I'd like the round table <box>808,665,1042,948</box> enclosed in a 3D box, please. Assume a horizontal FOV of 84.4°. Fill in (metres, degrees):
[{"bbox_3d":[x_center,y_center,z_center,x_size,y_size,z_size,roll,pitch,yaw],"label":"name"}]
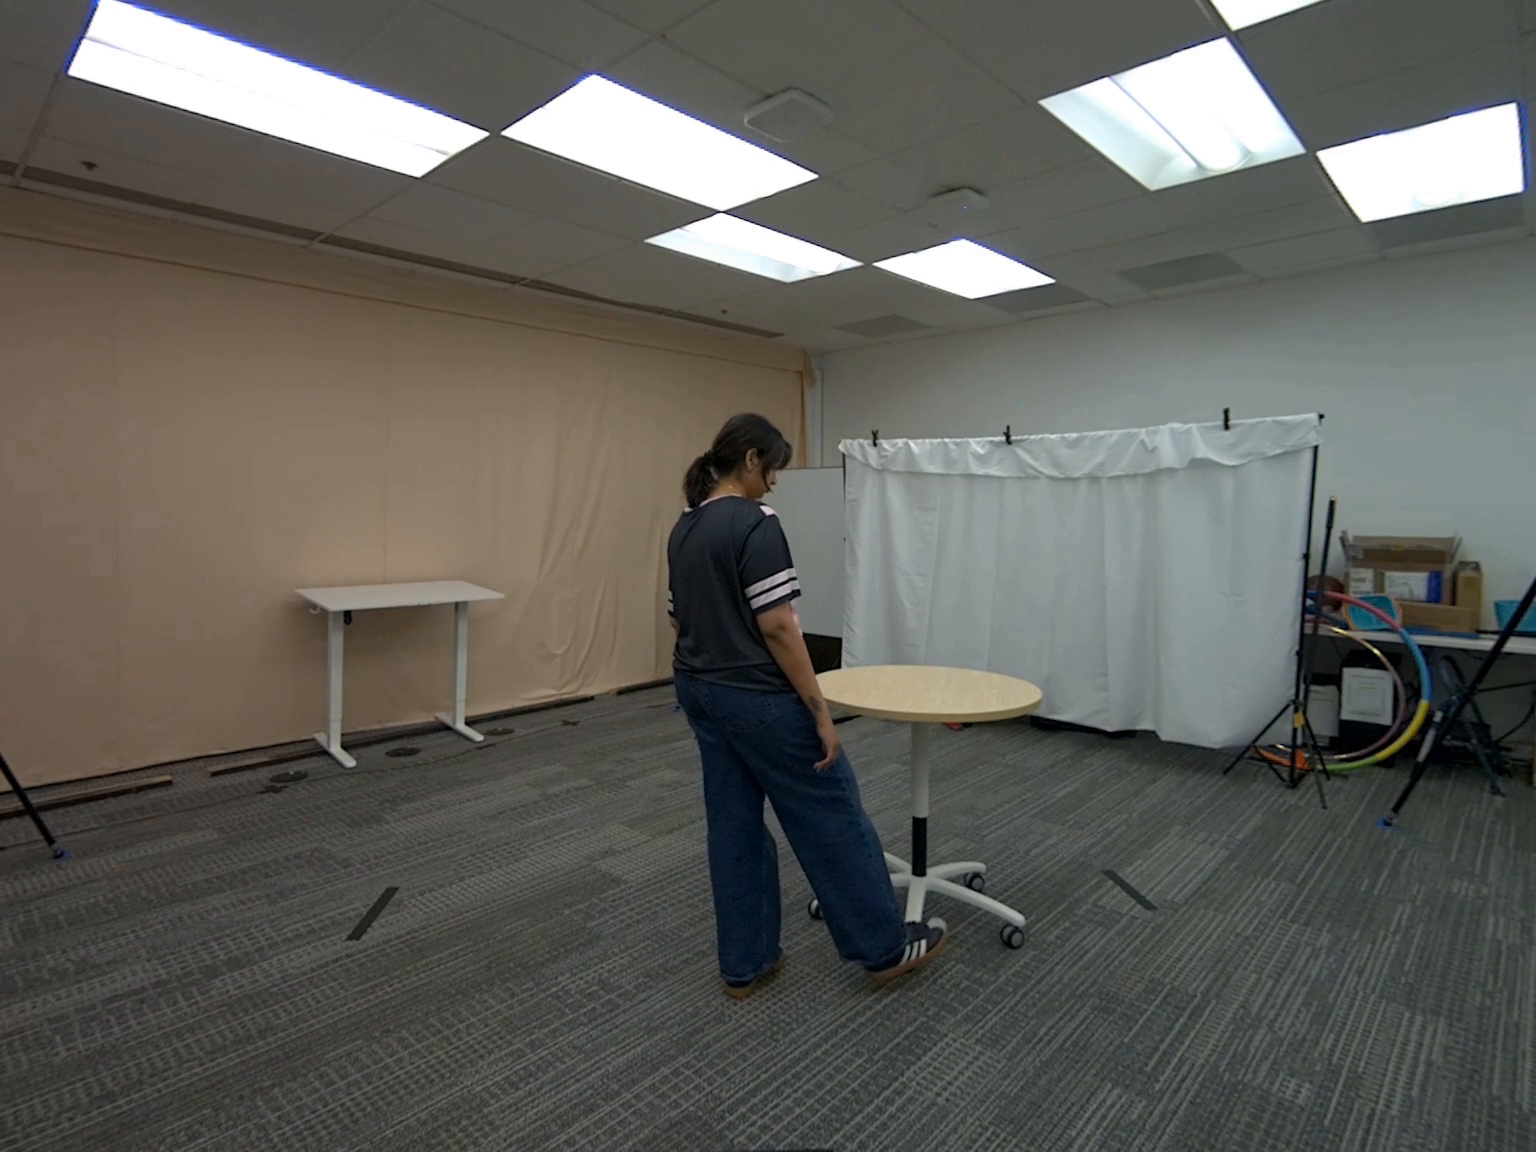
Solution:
[{"bbox_3d":[0.516,0.765,2.839,0.763,0.792,0.766,0,3,-2],"label":"round table"}]
